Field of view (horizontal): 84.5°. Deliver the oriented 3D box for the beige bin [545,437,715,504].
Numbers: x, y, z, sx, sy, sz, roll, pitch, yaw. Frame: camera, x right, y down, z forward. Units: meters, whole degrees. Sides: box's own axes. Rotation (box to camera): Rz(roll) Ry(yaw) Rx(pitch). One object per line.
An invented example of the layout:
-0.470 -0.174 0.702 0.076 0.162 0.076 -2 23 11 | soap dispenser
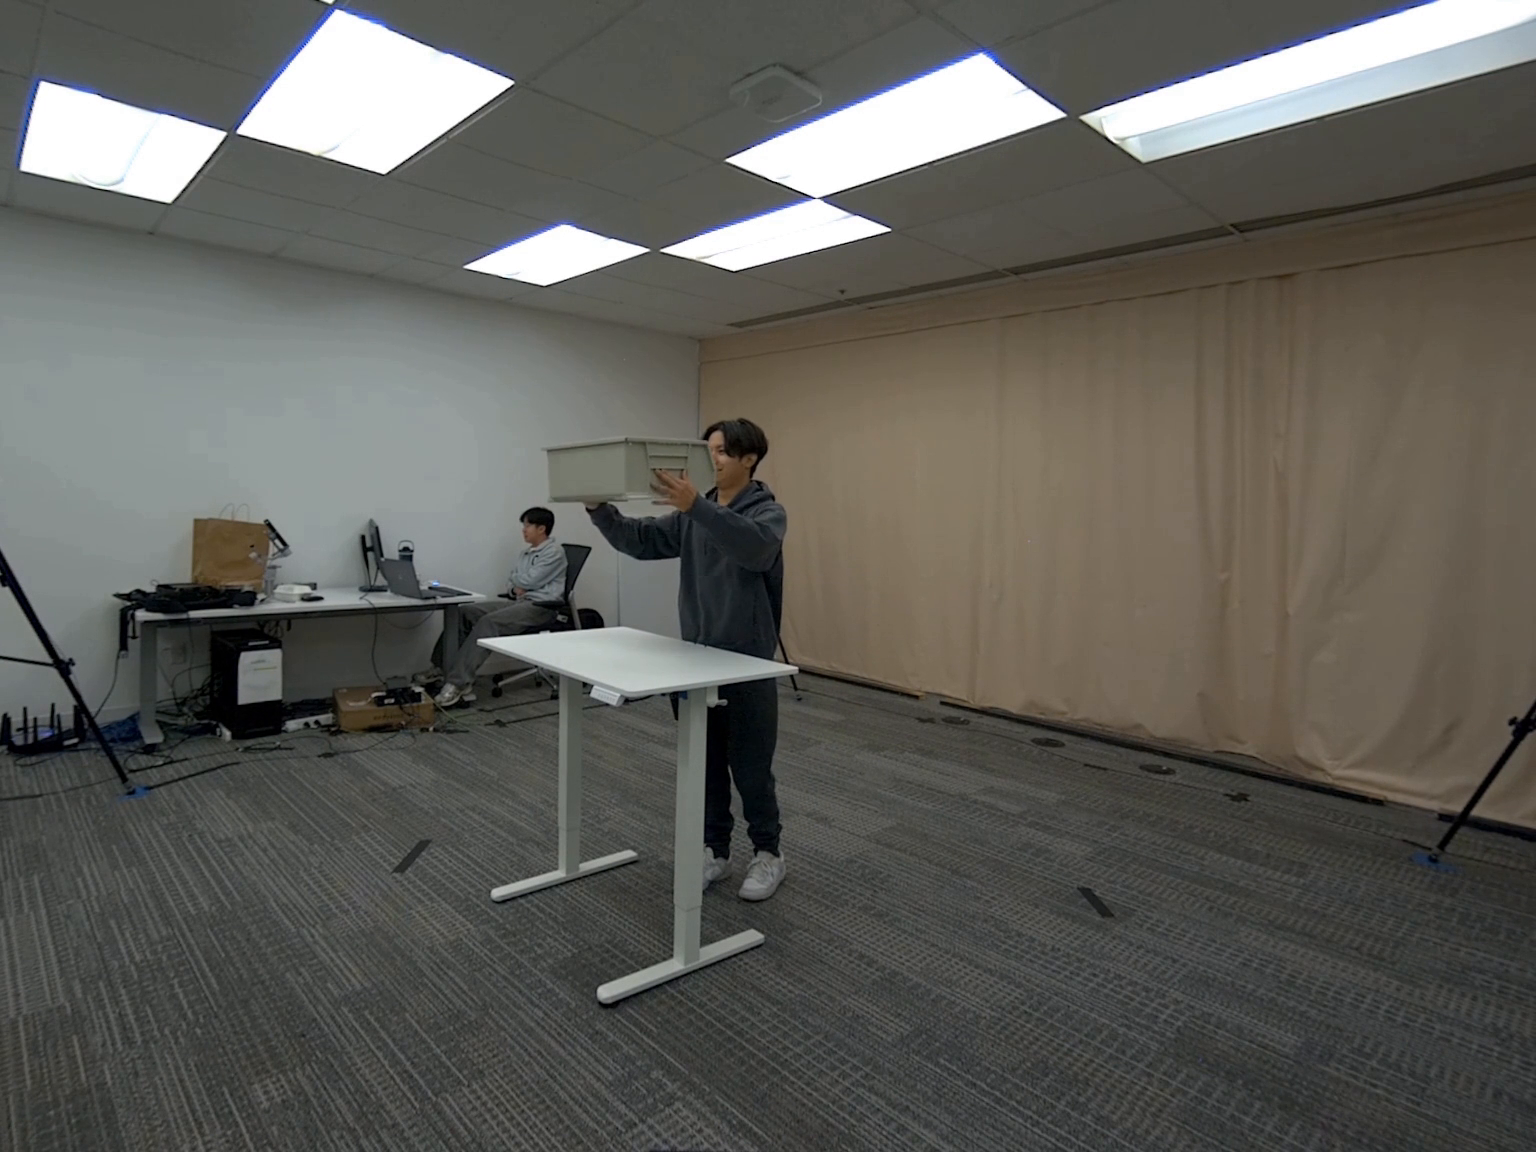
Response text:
-0.446 -0.323 2.683 0.433 0.188 0.369 3 6 42 | beige bin
